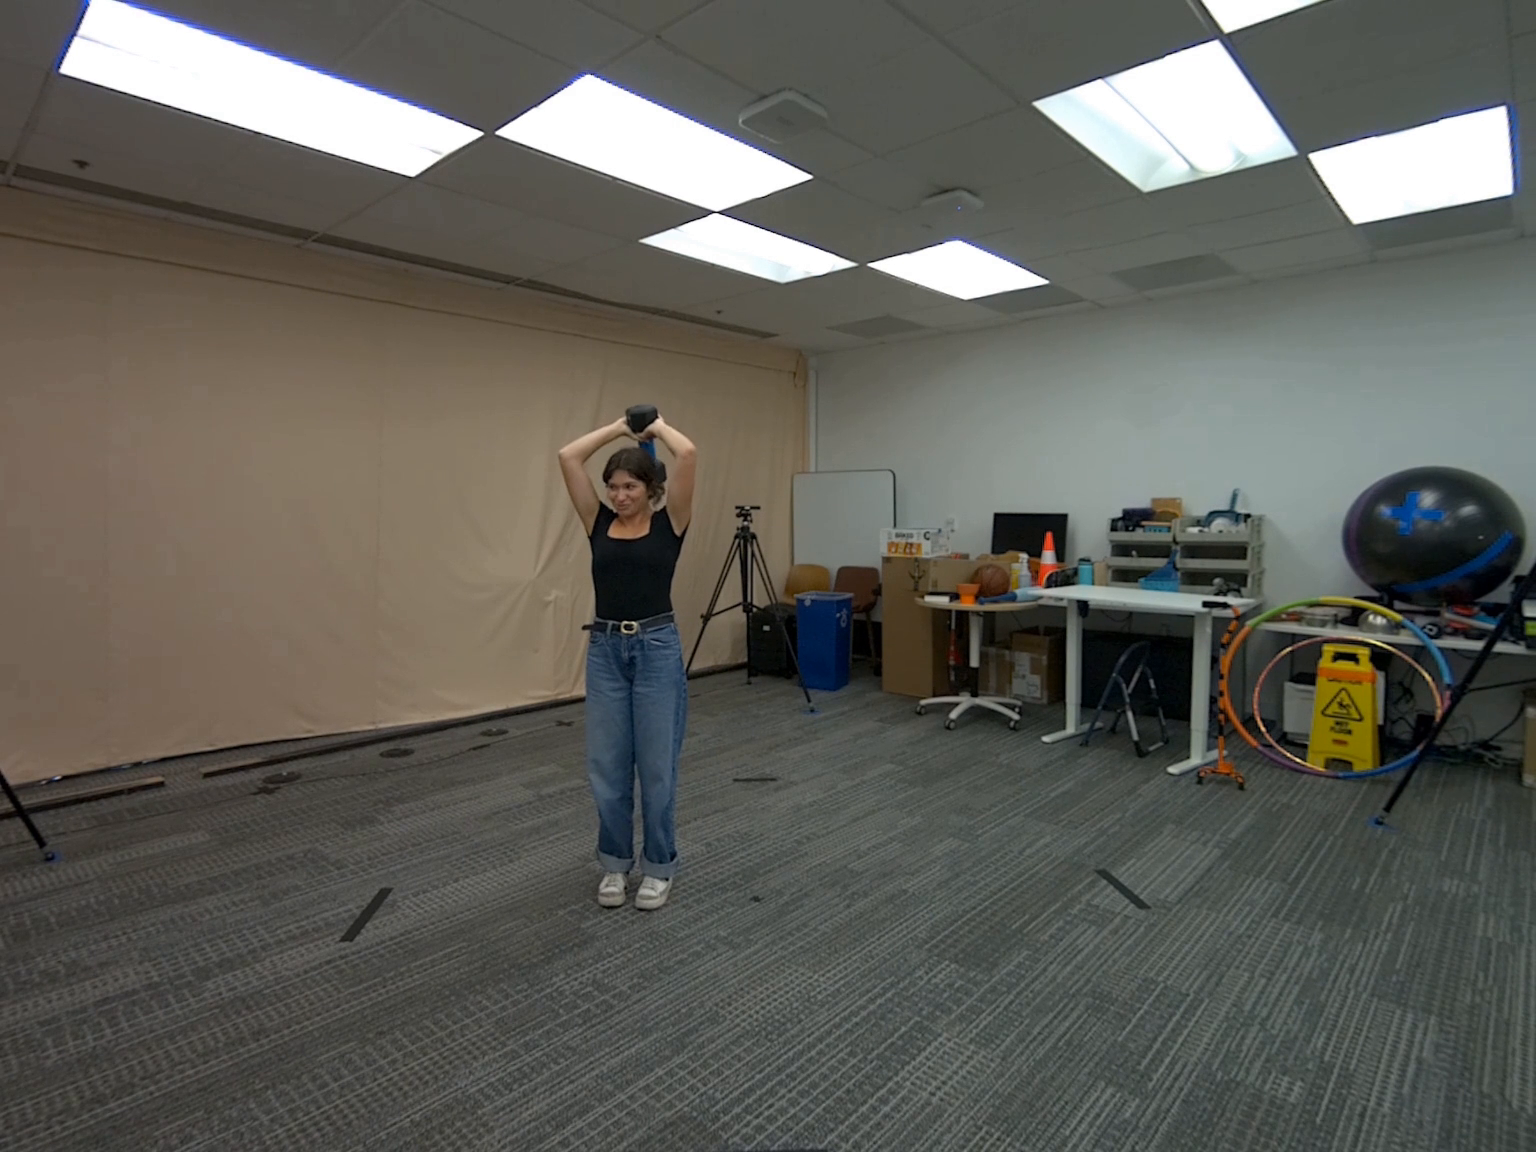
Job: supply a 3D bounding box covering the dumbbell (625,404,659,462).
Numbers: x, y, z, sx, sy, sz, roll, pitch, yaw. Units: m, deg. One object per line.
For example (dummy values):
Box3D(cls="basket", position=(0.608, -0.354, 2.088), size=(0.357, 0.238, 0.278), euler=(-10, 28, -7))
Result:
Box3D(cls="dumbbell", position=(-0.456, -0.485, 3.138), size=(0.112, 0.289, 0.121), euler=(11, 29, 36))
